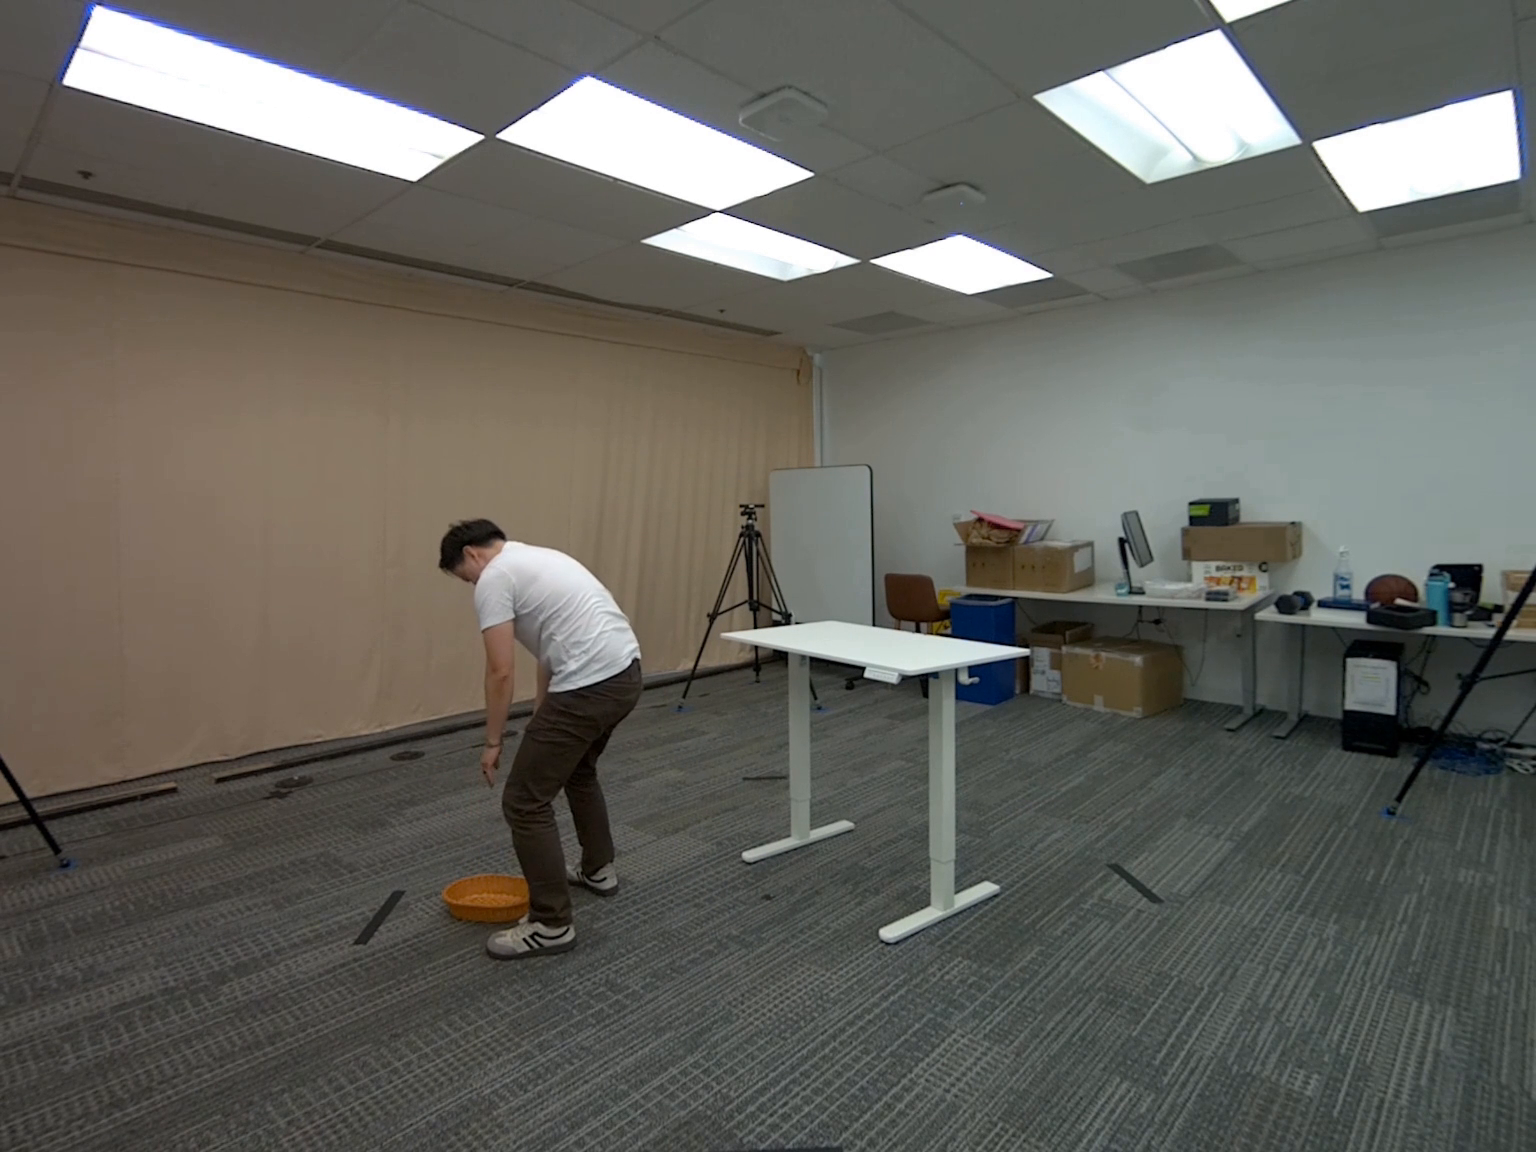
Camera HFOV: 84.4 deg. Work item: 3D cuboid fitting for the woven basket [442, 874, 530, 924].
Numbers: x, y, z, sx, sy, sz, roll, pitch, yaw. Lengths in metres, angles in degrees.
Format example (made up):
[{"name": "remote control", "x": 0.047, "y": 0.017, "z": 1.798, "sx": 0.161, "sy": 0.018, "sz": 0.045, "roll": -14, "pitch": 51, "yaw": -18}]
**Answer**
[{"name": "woven basket", "x": -0.965, "y": 1.129, "z": 2.938, "sx": 0.355, "sy": 0.073, "sz": 0.249, "roll": -1, "pitch": 4, "yaw": 13}]
